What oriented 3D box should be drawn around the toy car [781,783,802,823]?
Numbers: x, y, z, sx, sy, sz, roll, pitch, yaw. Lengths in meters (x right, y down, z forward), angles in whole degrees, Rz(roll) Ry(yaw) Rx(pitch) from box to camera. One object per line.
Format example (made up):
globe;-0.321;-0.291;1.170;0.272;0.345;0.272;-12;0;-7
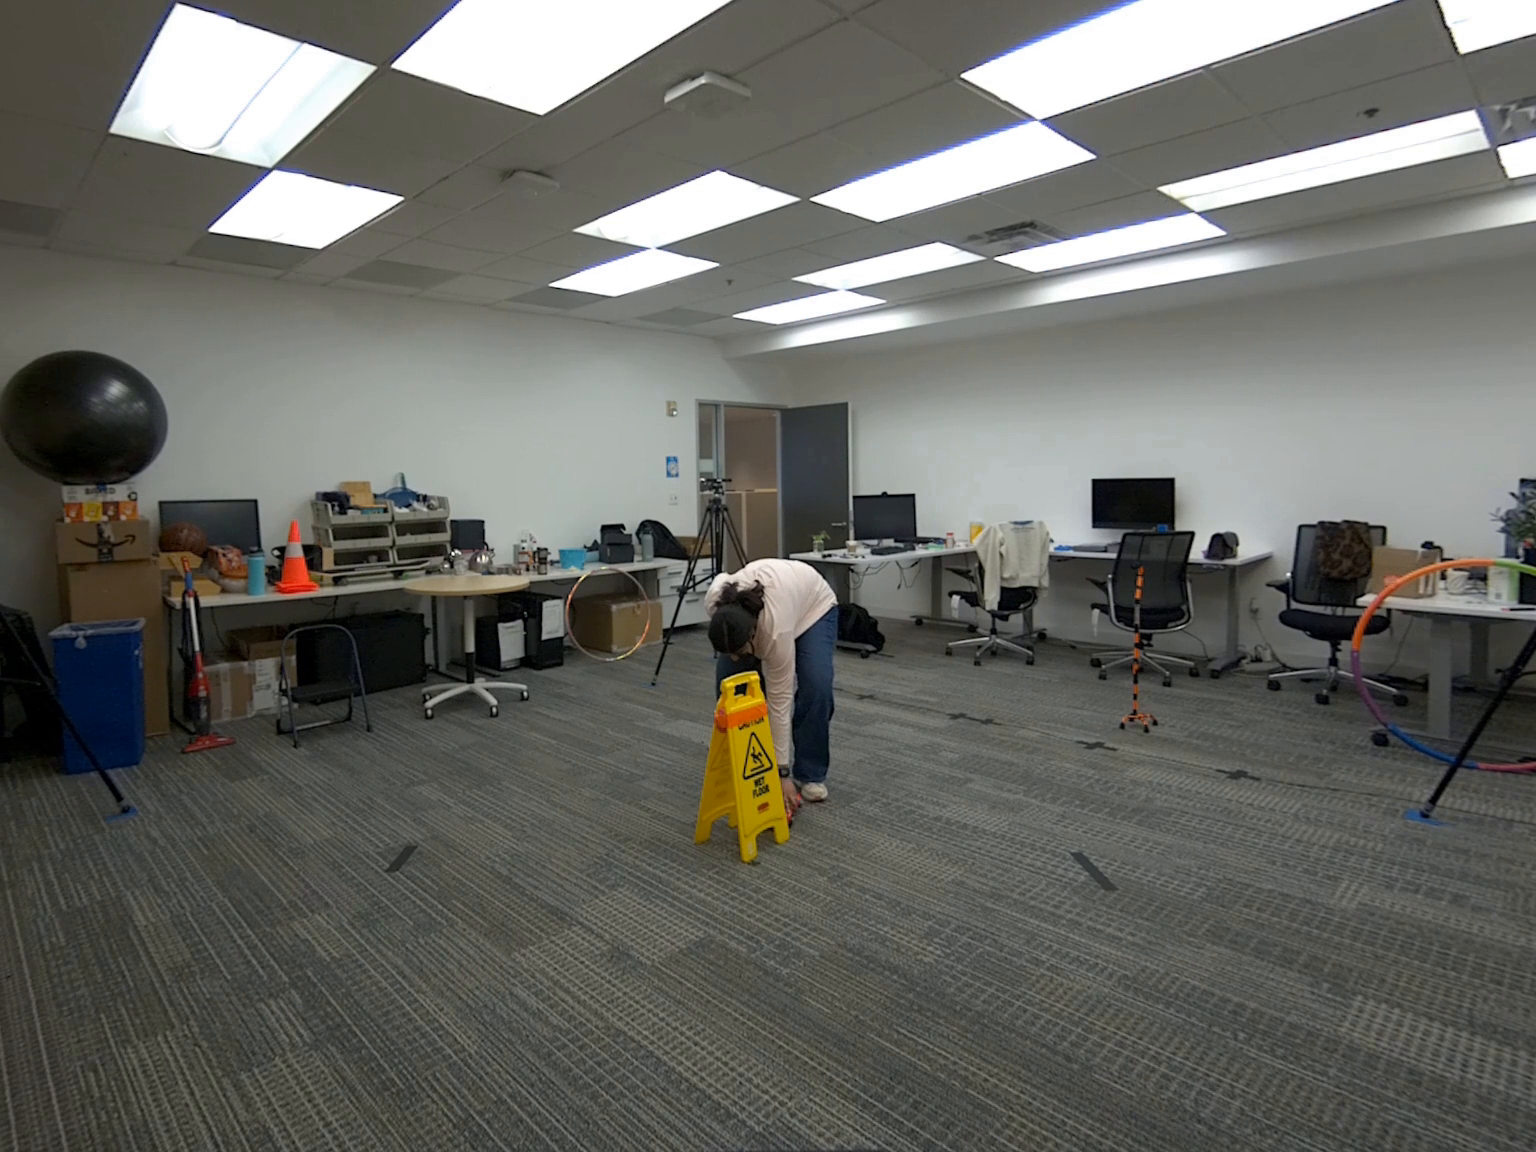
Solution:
toy car;0.059;0.964;3.486;0.133;0.083;0.250;2;3;17
